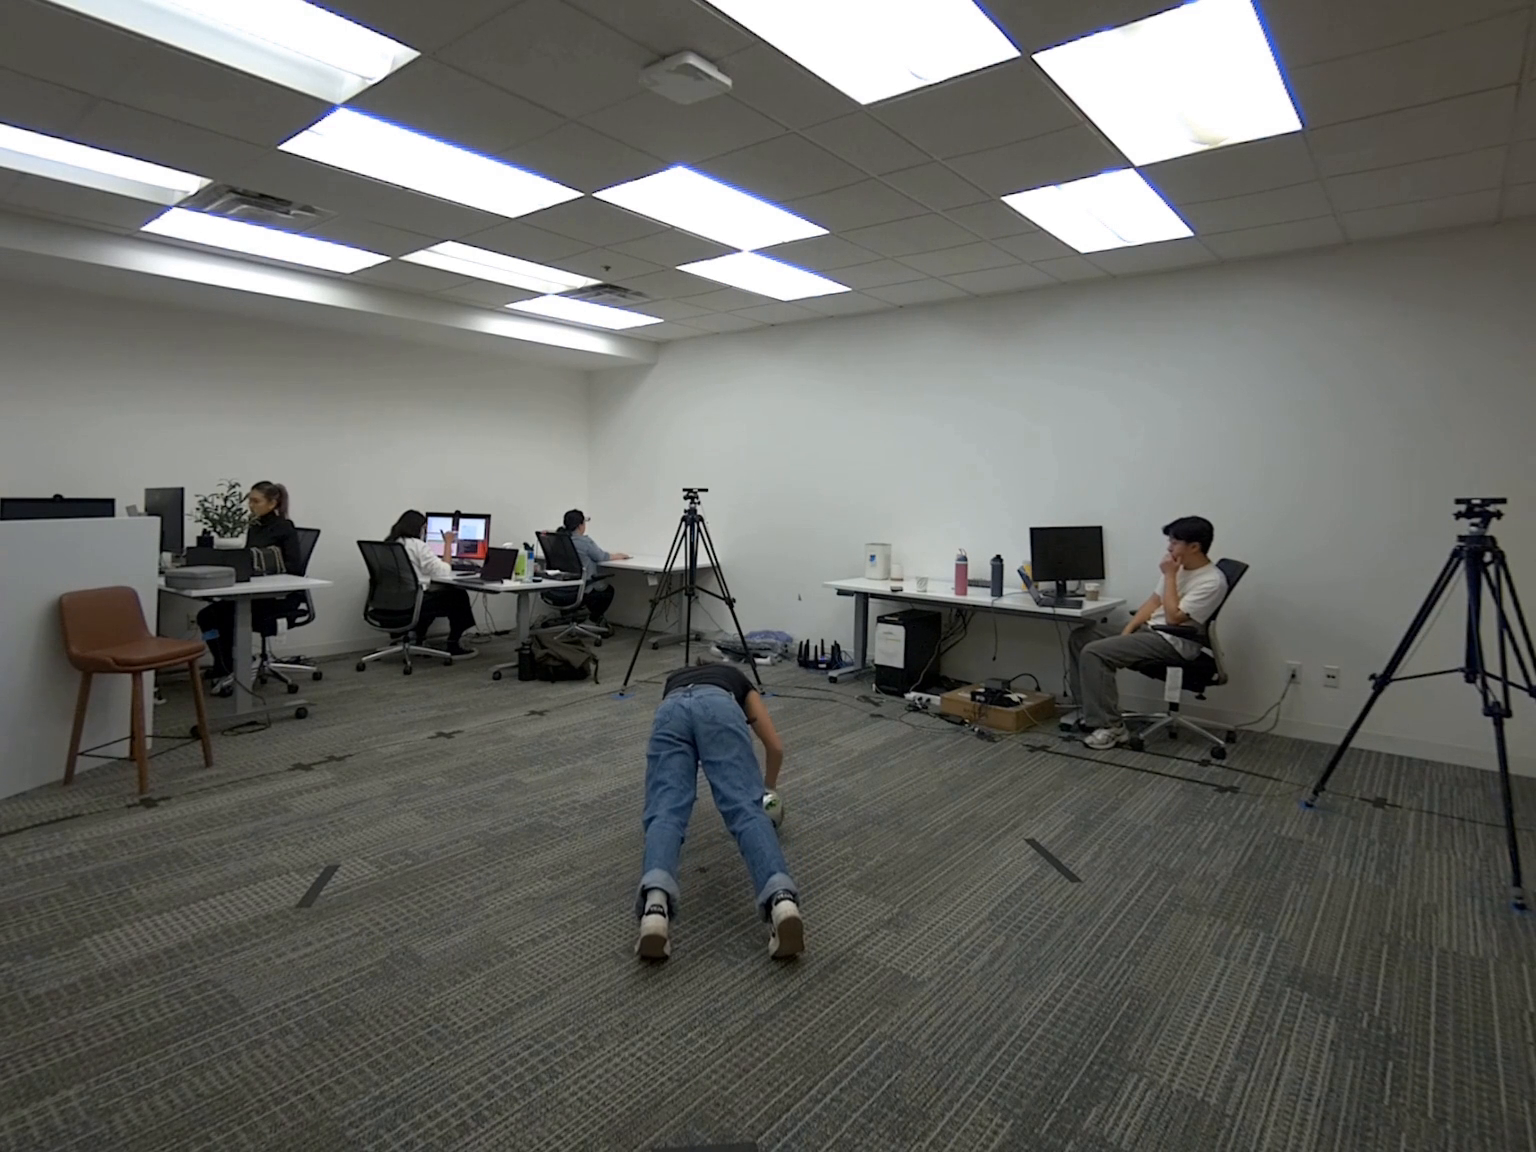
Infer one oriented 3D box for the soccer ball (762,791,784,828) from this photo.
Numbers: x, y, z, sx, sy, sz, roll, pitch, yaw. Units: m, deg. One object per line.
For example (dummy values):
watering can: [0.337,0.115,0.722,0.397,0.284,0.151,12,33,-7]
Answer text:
soccer ball: [-0.022,0.936,3.441,0.187,0.187,0.188,1,4,-2]
